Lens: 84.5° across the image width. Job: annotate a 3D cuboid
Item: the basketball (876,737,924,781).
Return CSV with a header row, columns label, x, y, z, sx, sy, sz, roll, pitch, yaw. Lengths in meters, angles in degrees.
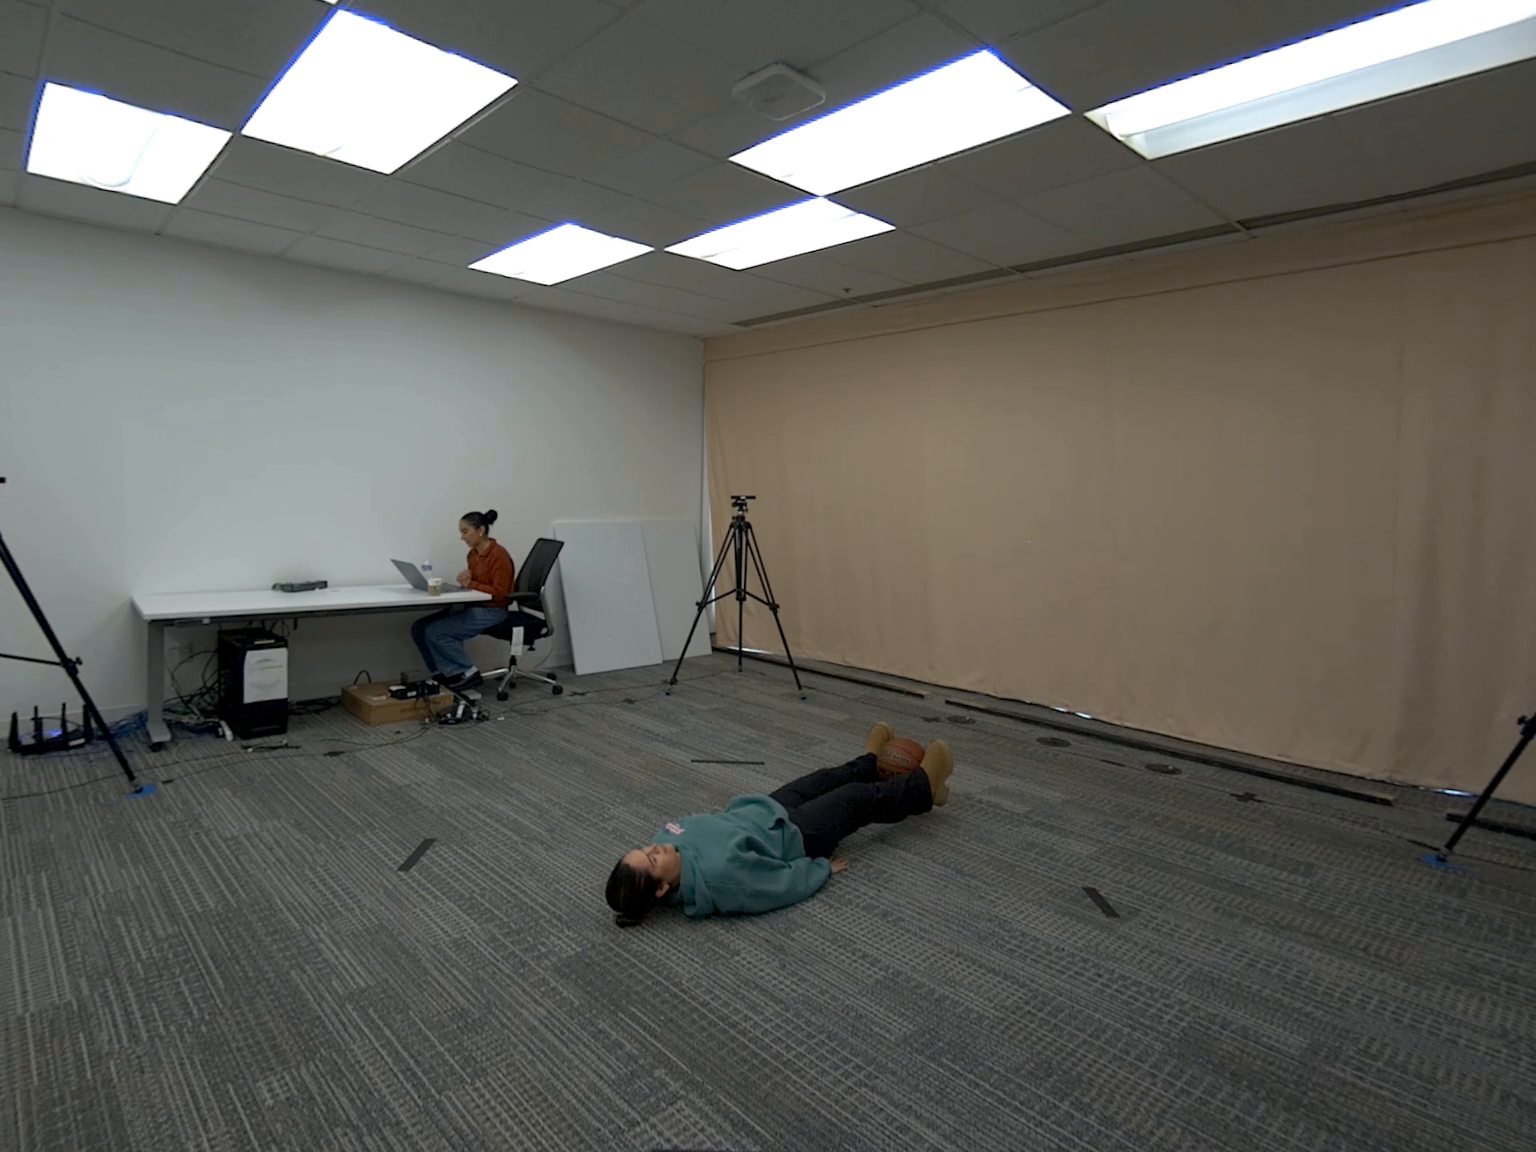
label,x,y,z,sx,sy,sz,roll,pitch,yaw
basketball,0.595,0.845,3.780,0.236,0.235,0.237,1,5,-1
